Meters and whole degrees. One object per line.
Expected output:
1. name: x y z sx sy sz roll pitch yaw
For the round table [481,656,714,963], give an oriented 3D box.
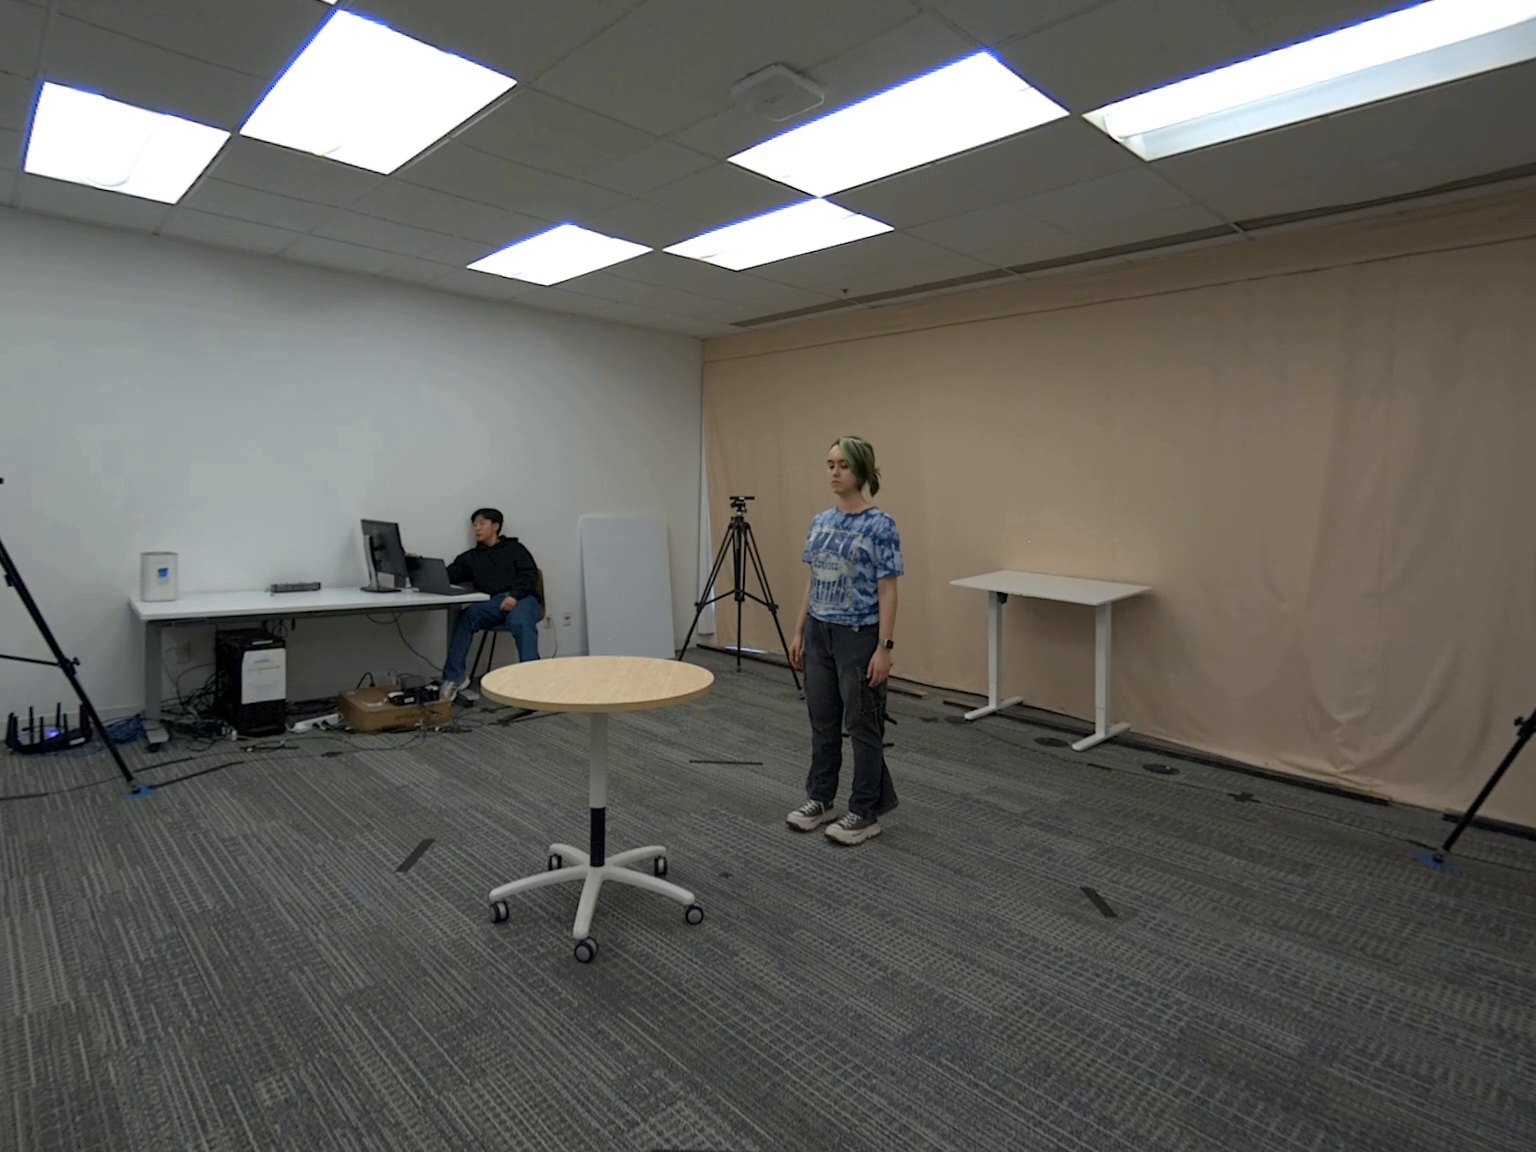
1. round table: -0.578 0.731 2.832 0.763 0.792 0.766 1 4 -1
